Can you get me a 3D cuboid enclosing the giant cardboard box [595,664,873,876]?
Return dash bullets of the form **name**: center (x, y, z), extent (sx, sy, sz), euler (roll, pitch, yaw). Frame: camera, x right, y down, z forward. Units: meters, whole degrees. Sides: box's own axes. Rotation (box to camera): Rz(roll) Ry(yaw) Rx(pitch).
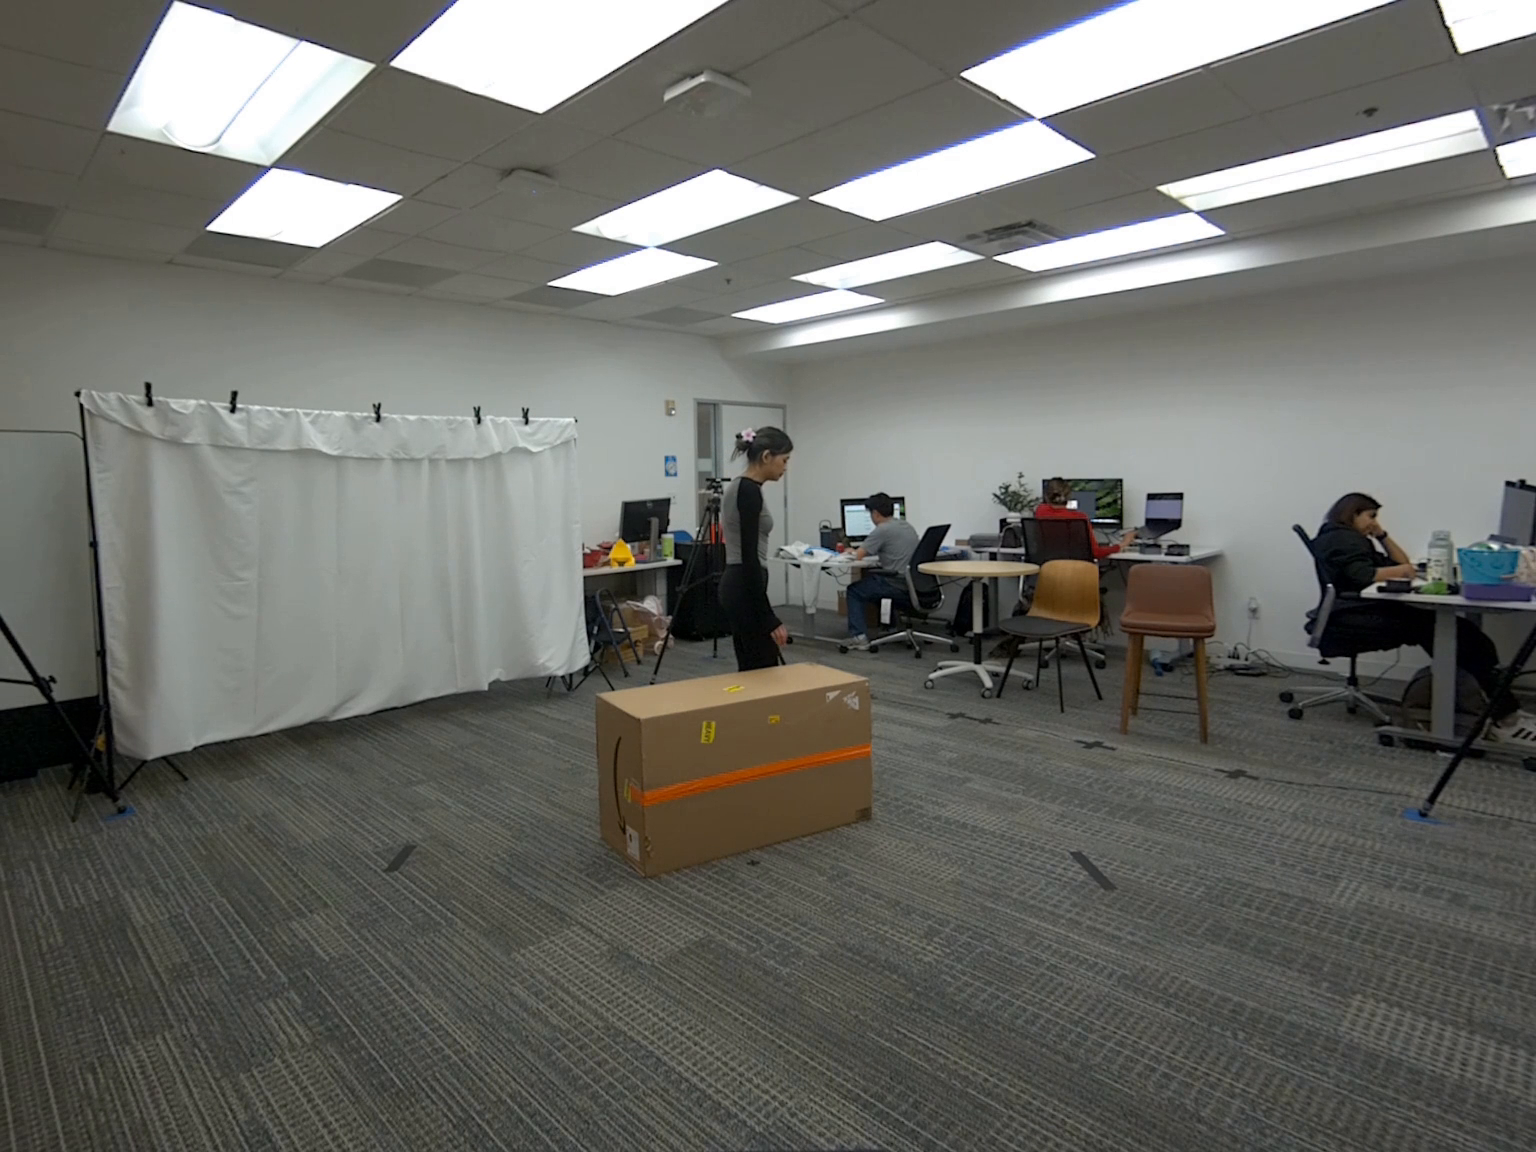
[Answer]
- **giant cardboard box**: center (-0.121, 0.723, 3.398), extent (1.002, 0.575, 0.438), euler (-5, 5, -30)
